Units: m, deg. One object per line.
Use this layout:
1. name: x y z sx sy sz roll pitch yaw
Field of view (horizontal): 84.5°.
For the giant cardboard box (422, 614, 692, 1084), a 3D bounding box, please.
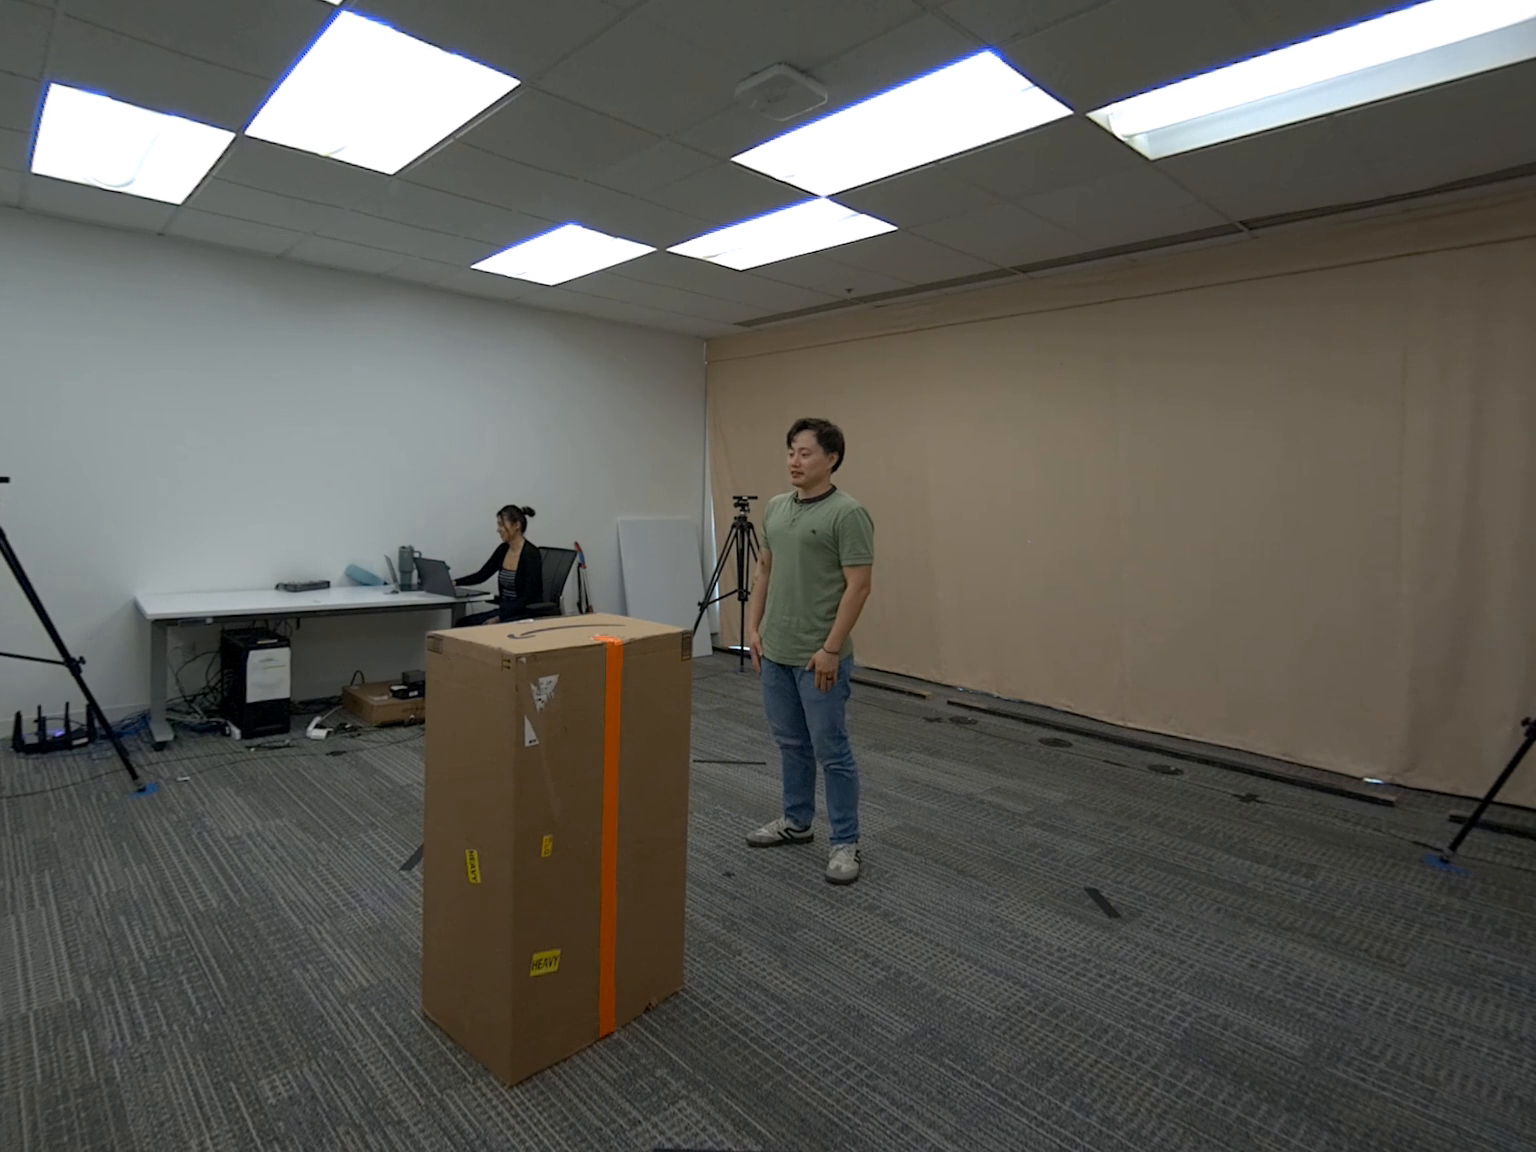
1. giant cardboard box: -0.565 0.659 2.282 0.437 1.023 0.564 5 5 41
